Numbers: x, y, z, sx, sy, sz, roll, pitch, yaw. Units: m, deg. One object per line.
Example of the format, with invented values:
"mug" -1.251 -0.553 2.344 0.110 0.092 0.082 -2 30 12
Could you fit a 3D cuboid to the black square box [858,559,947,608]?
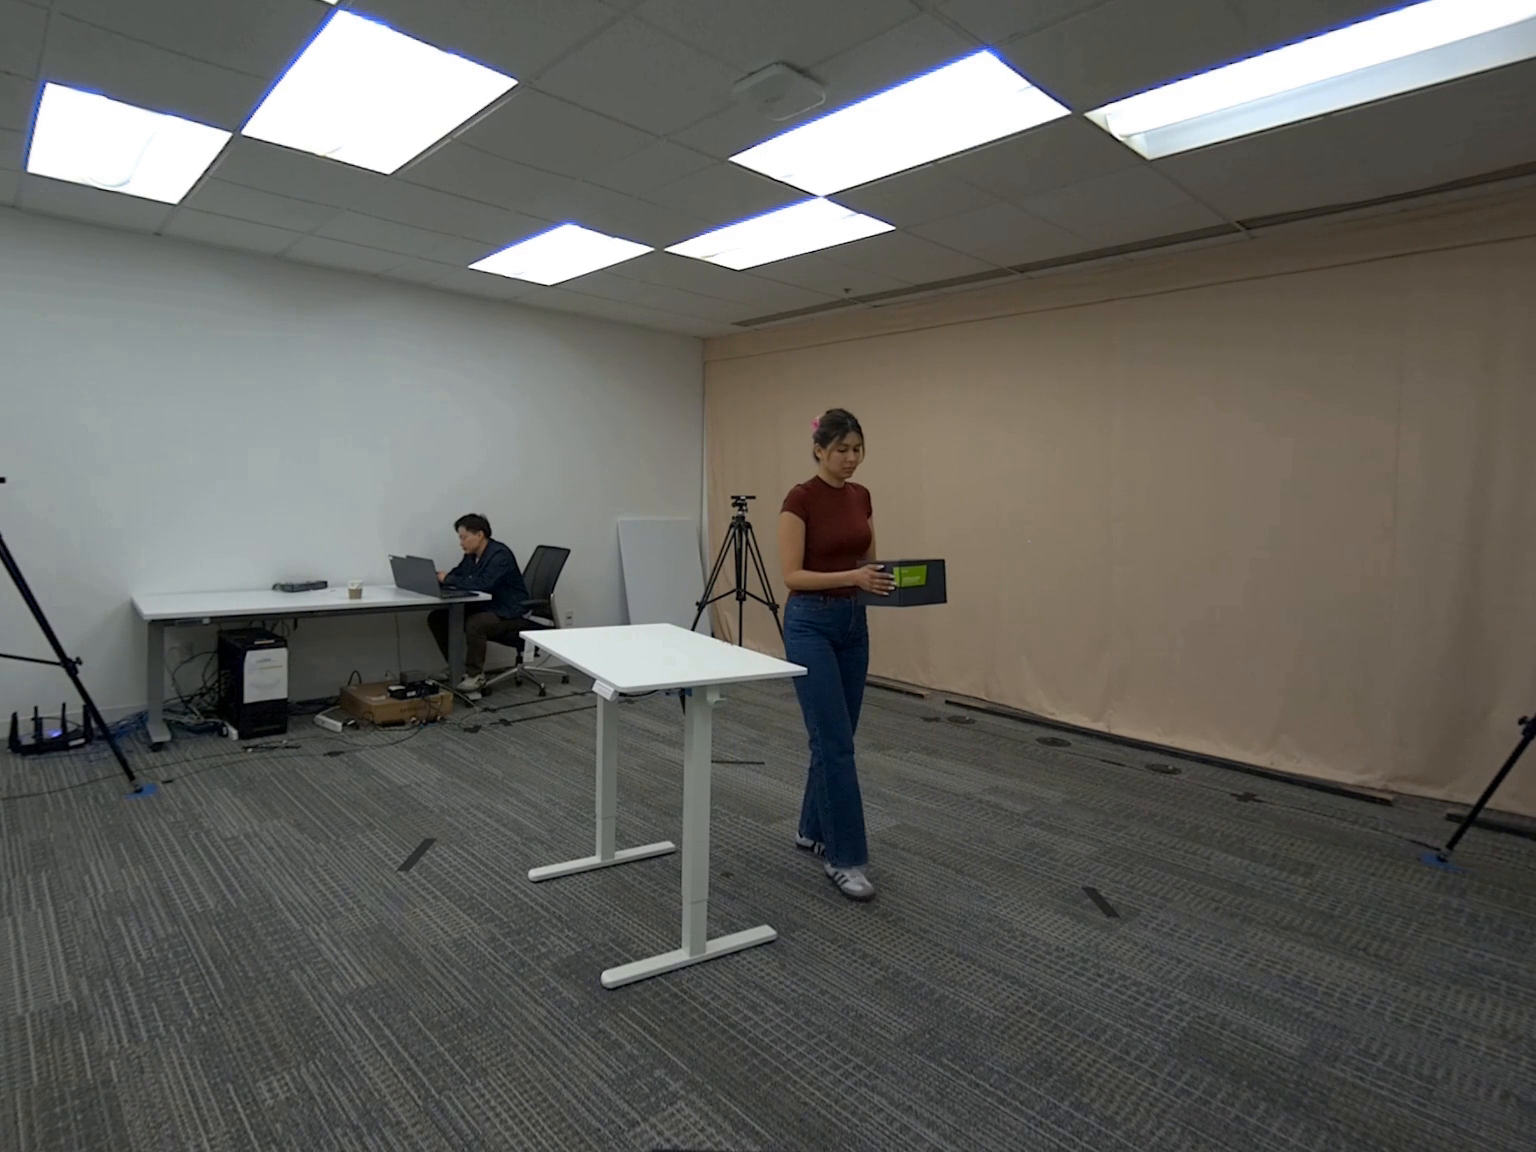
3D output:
"black square box" 0.485 0.024 2.943 0.223 0.156 0.221 -4 2 -29
